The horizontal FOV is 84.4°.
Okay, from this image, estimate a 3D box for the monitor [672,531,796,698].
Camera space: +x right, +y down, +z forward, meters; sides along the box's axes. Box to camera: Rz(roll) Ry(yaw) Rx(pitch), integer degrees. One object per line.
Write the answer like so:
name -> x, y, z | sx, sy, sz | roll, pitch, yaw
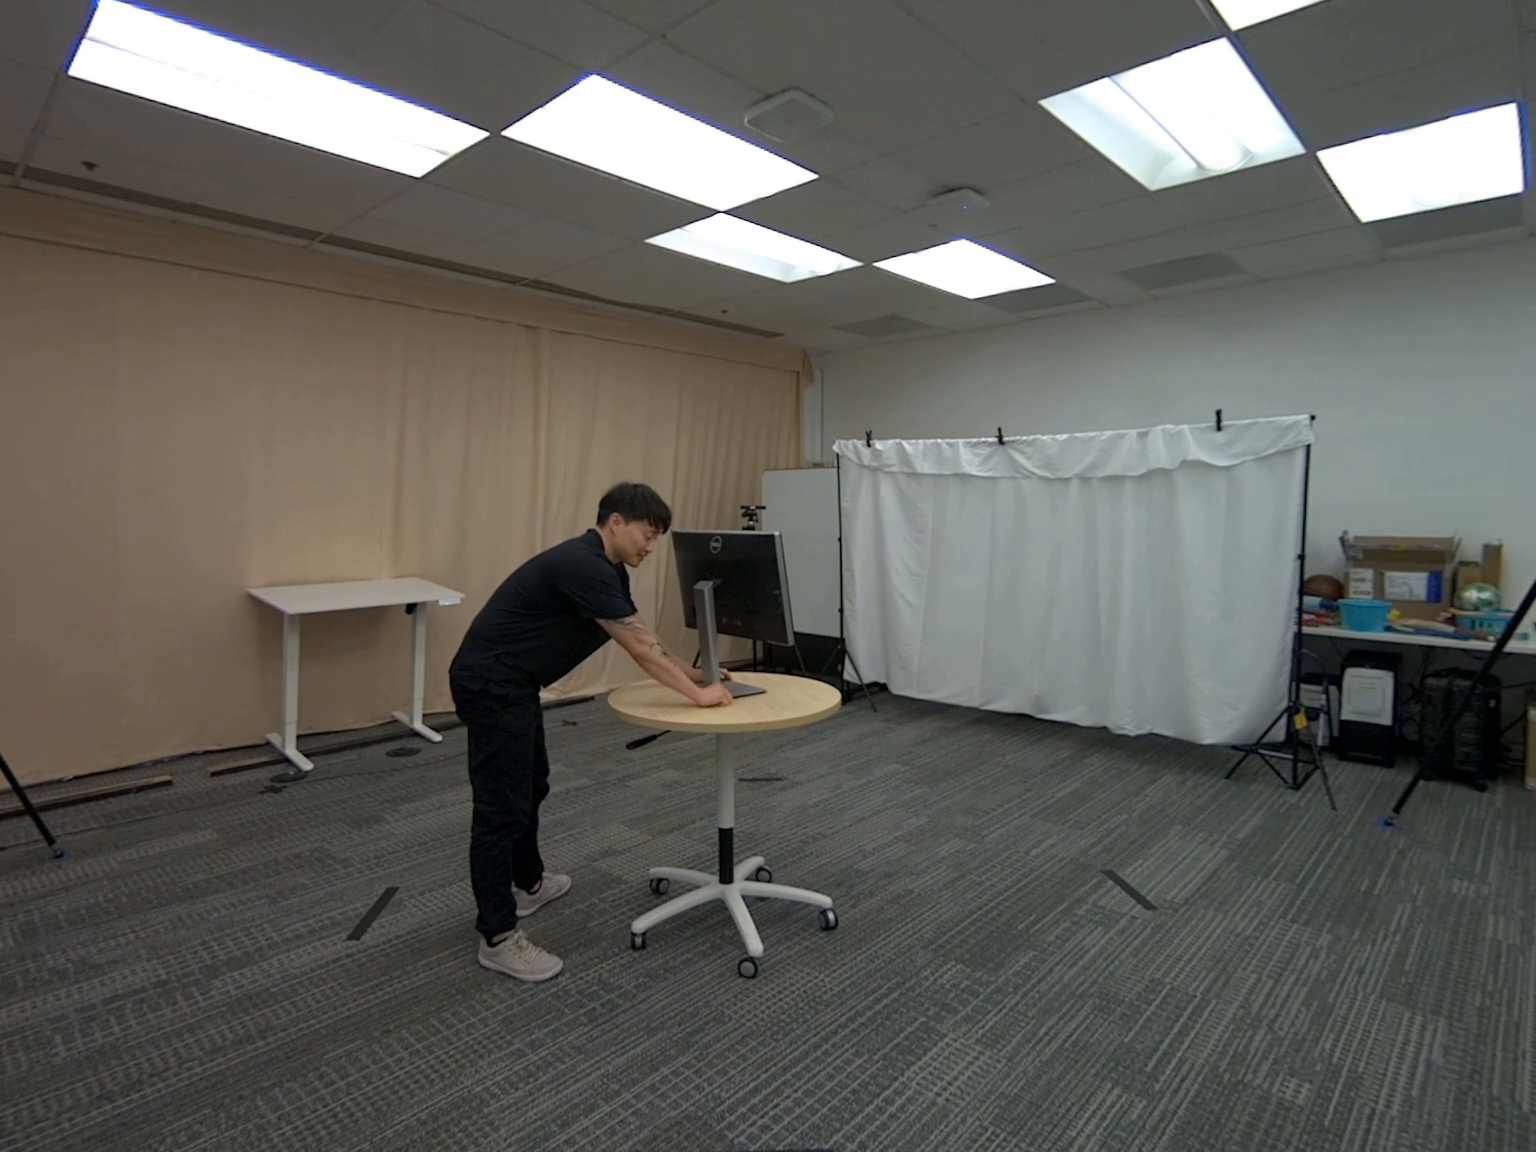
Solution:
monitor -> -0.151, 0.119, 2.819 | 0.181, 0.522, 0.557 | 0, 3, -42
